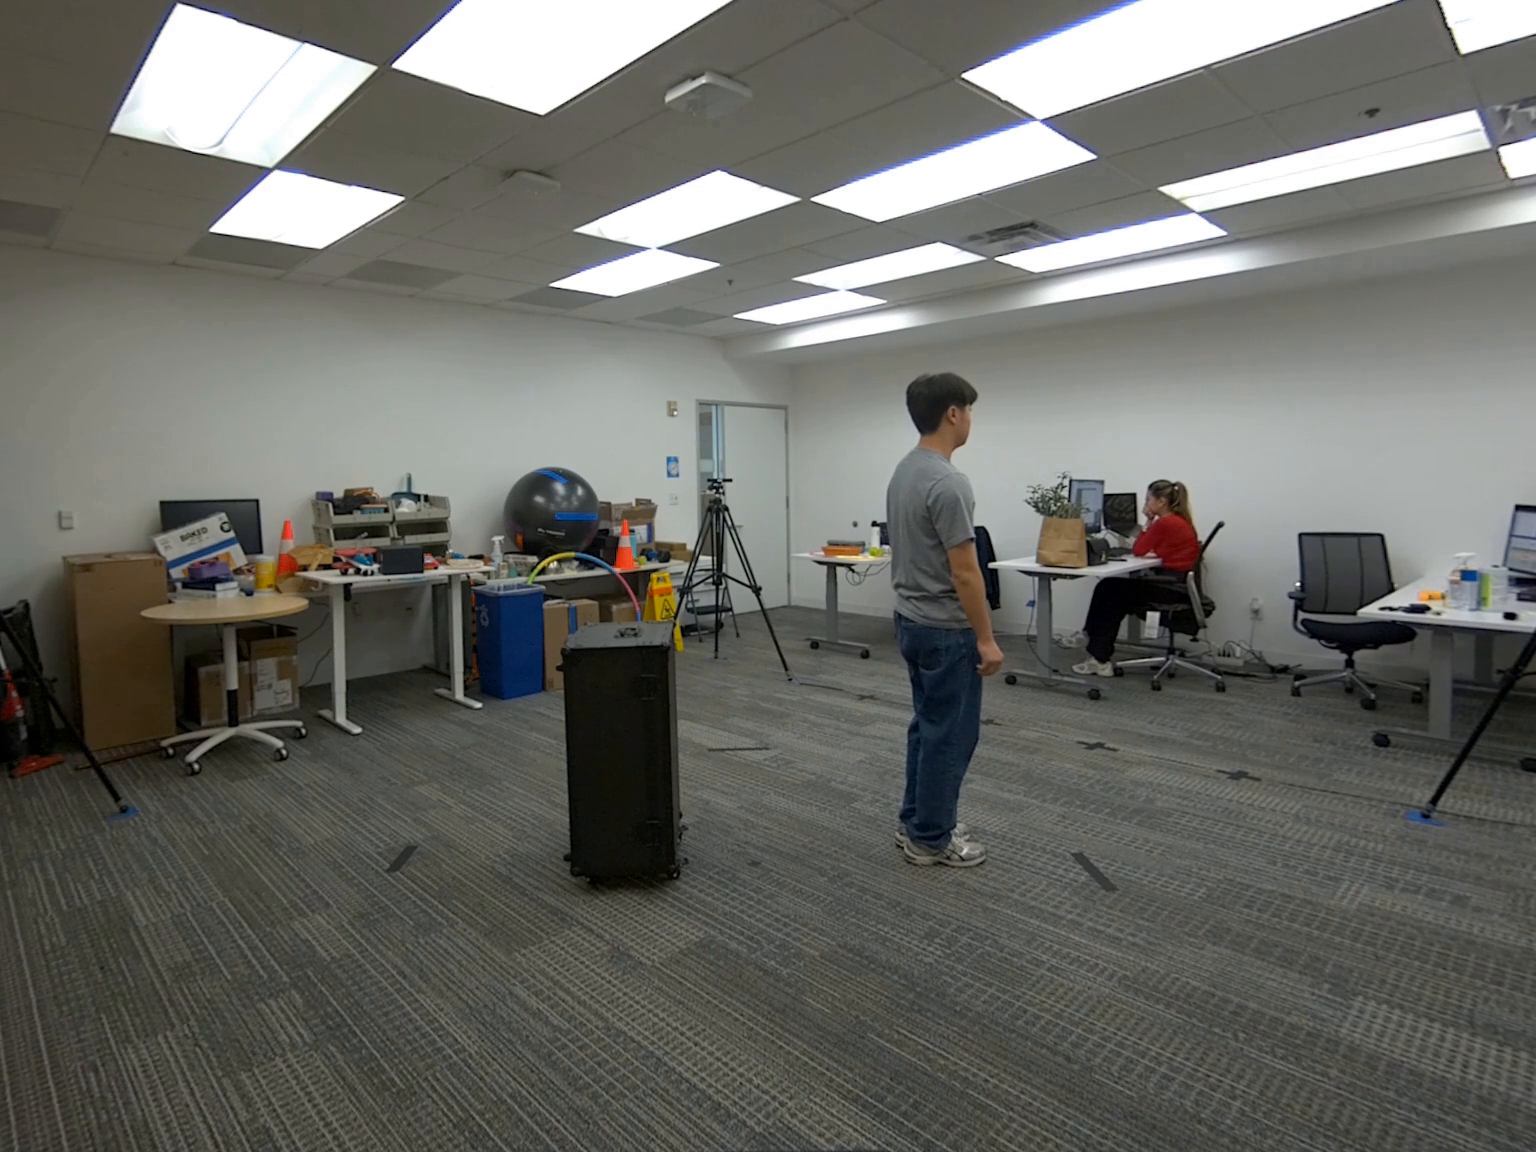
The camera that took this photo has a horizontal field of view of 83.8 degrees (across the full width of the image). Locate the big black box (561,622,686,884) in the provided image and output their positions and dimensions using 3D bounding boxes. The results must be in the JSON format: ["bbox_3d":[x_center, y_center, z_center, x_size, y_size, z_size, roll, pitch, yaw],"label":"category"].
[{"bbox_3d":[-0.524,0.577,3.095,0.396,0.858,0.524,-2,4,-3],"label":"big black box"}]
